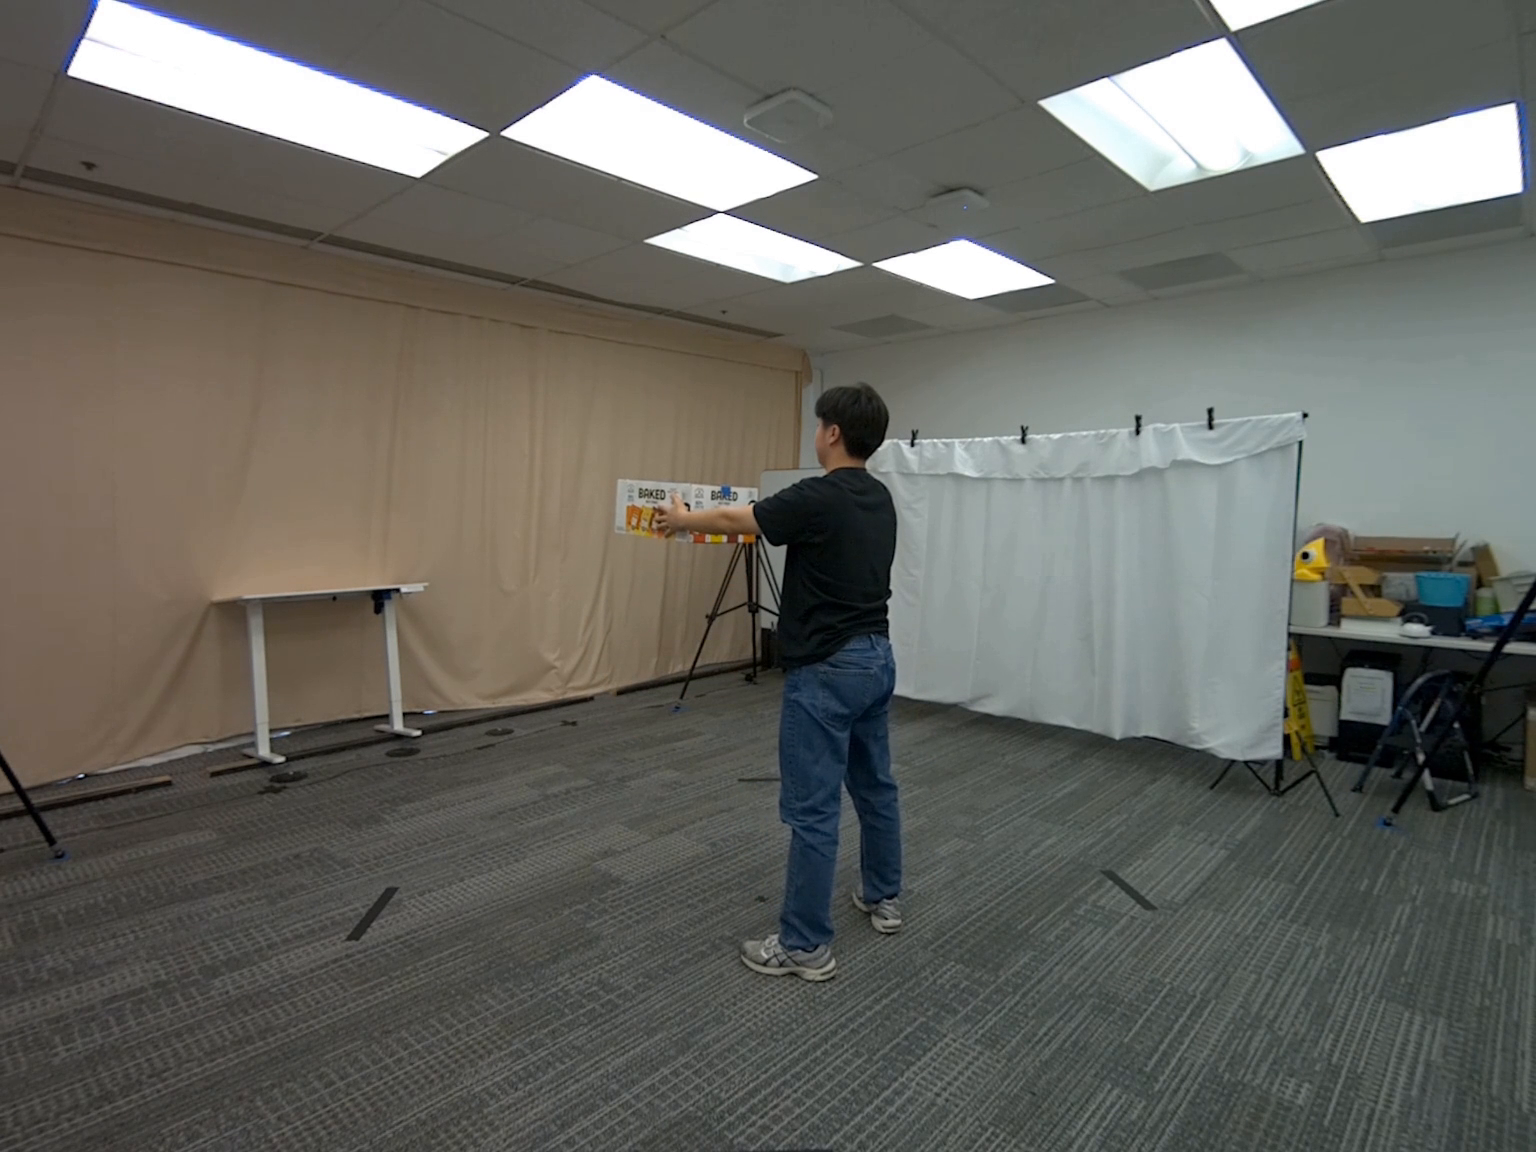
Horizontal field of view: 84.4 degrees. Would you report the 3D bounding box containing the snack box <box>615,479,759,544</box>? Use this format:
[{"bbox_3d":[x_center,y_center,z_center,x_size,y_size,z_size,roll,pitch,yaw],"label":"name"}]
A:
[{"bbox_3d":[-0.304,-0.243,3.137,0.419,0.205,0.329,8,6,42],"label":"snack box"}]
